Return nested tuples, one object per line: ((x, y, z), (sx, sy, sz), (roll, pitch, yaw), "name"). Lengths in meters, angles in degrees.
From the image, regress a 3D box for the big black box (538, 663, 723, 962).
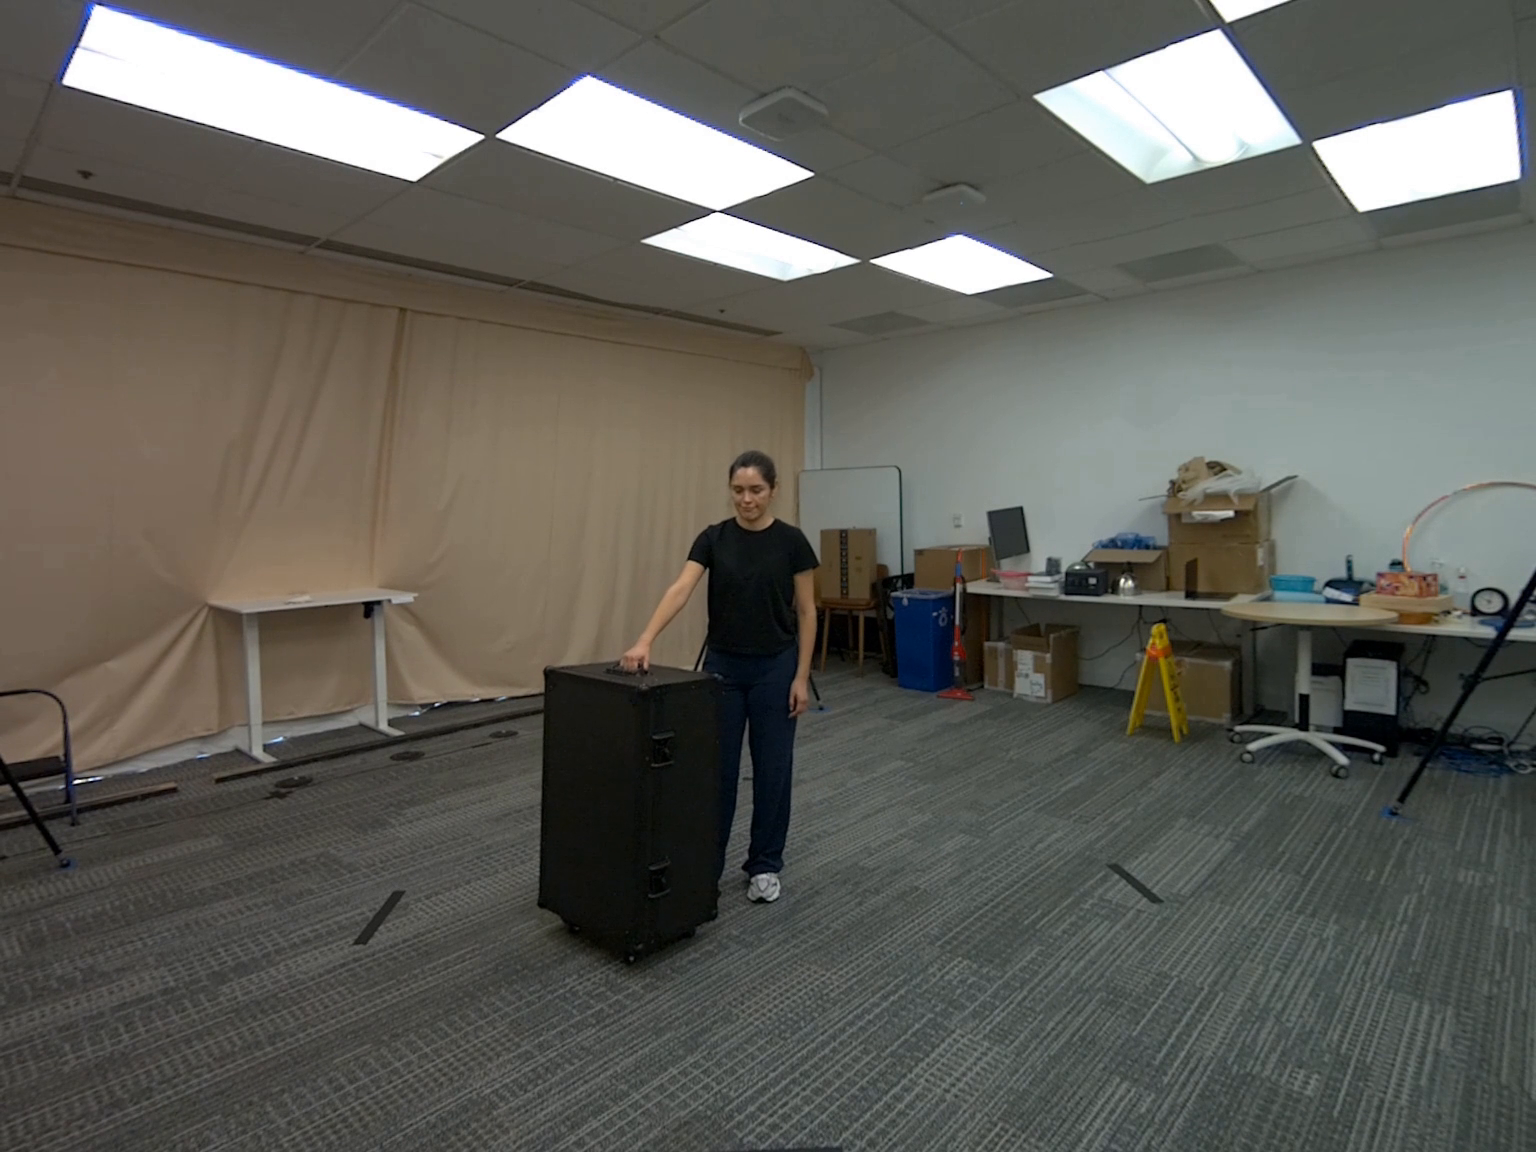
((-0.434, 0.736, 2.745), (0.538, 0.862, 0.383), (1, -1, 41), "big black box")
